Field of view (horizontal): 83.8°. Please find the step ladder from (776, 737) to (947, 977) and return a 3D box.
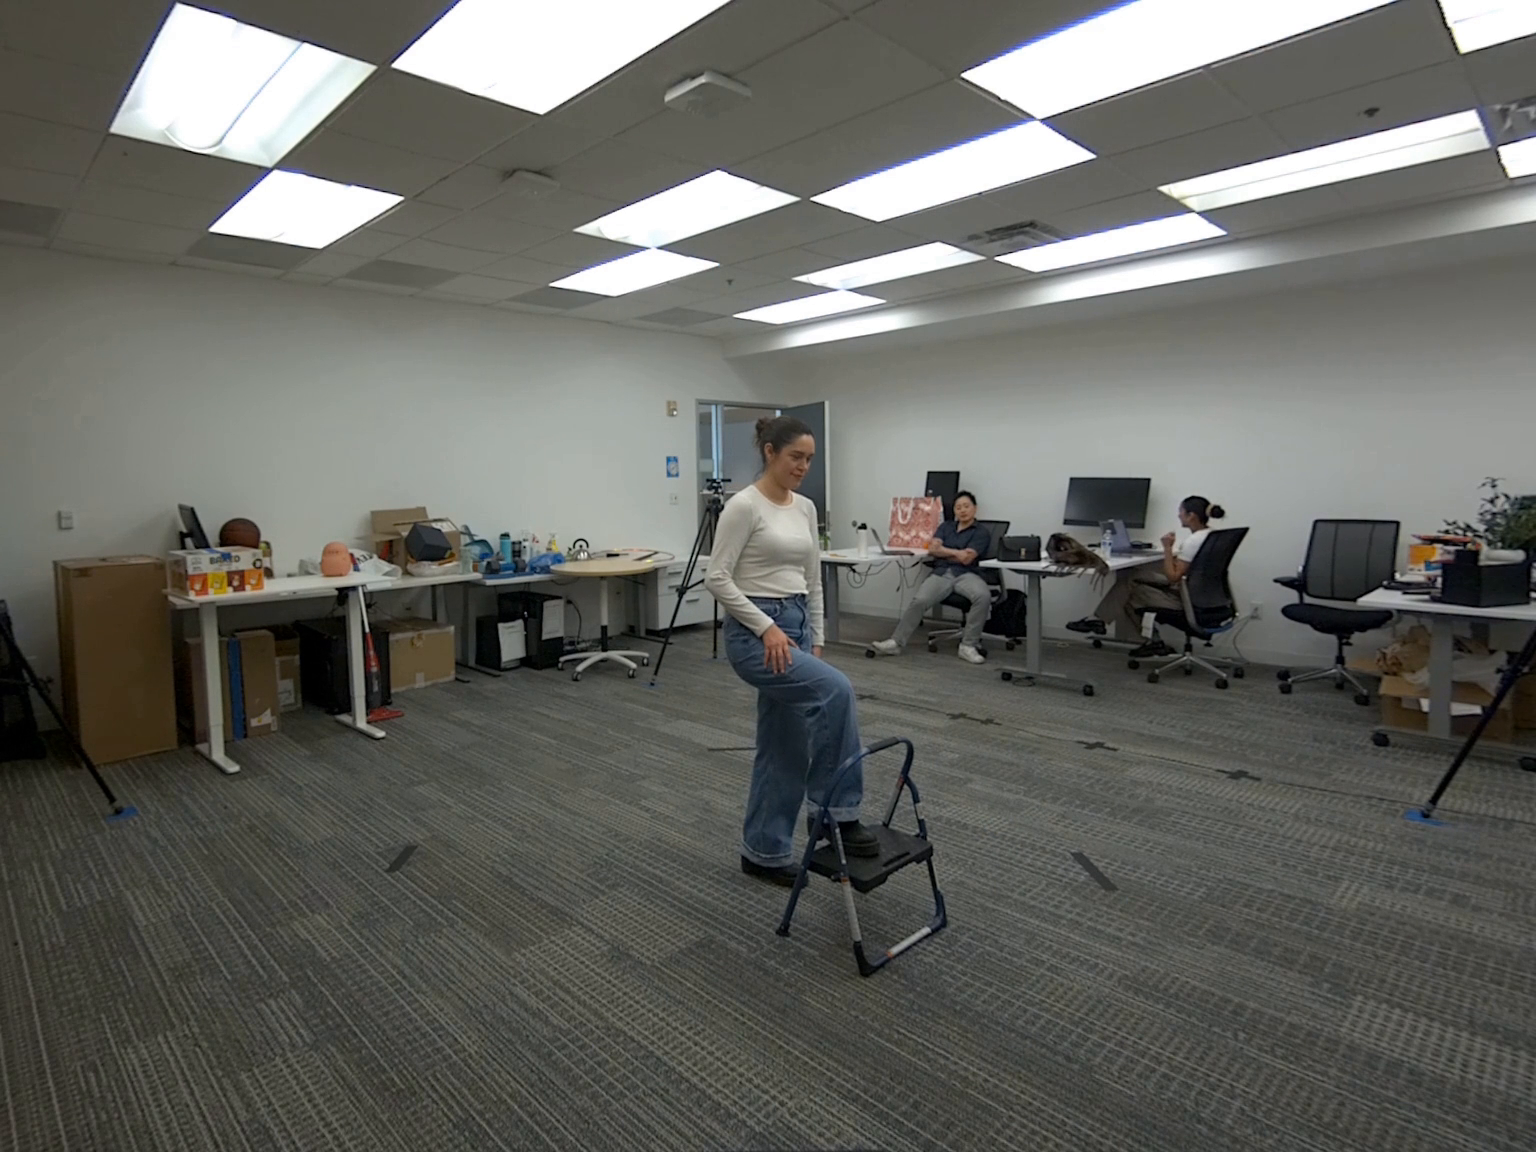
[{"bbox_3d":[0.292,0.791,2.623,0.360,0.604,0.419,3,7,45],"label":"step ladder"}]
